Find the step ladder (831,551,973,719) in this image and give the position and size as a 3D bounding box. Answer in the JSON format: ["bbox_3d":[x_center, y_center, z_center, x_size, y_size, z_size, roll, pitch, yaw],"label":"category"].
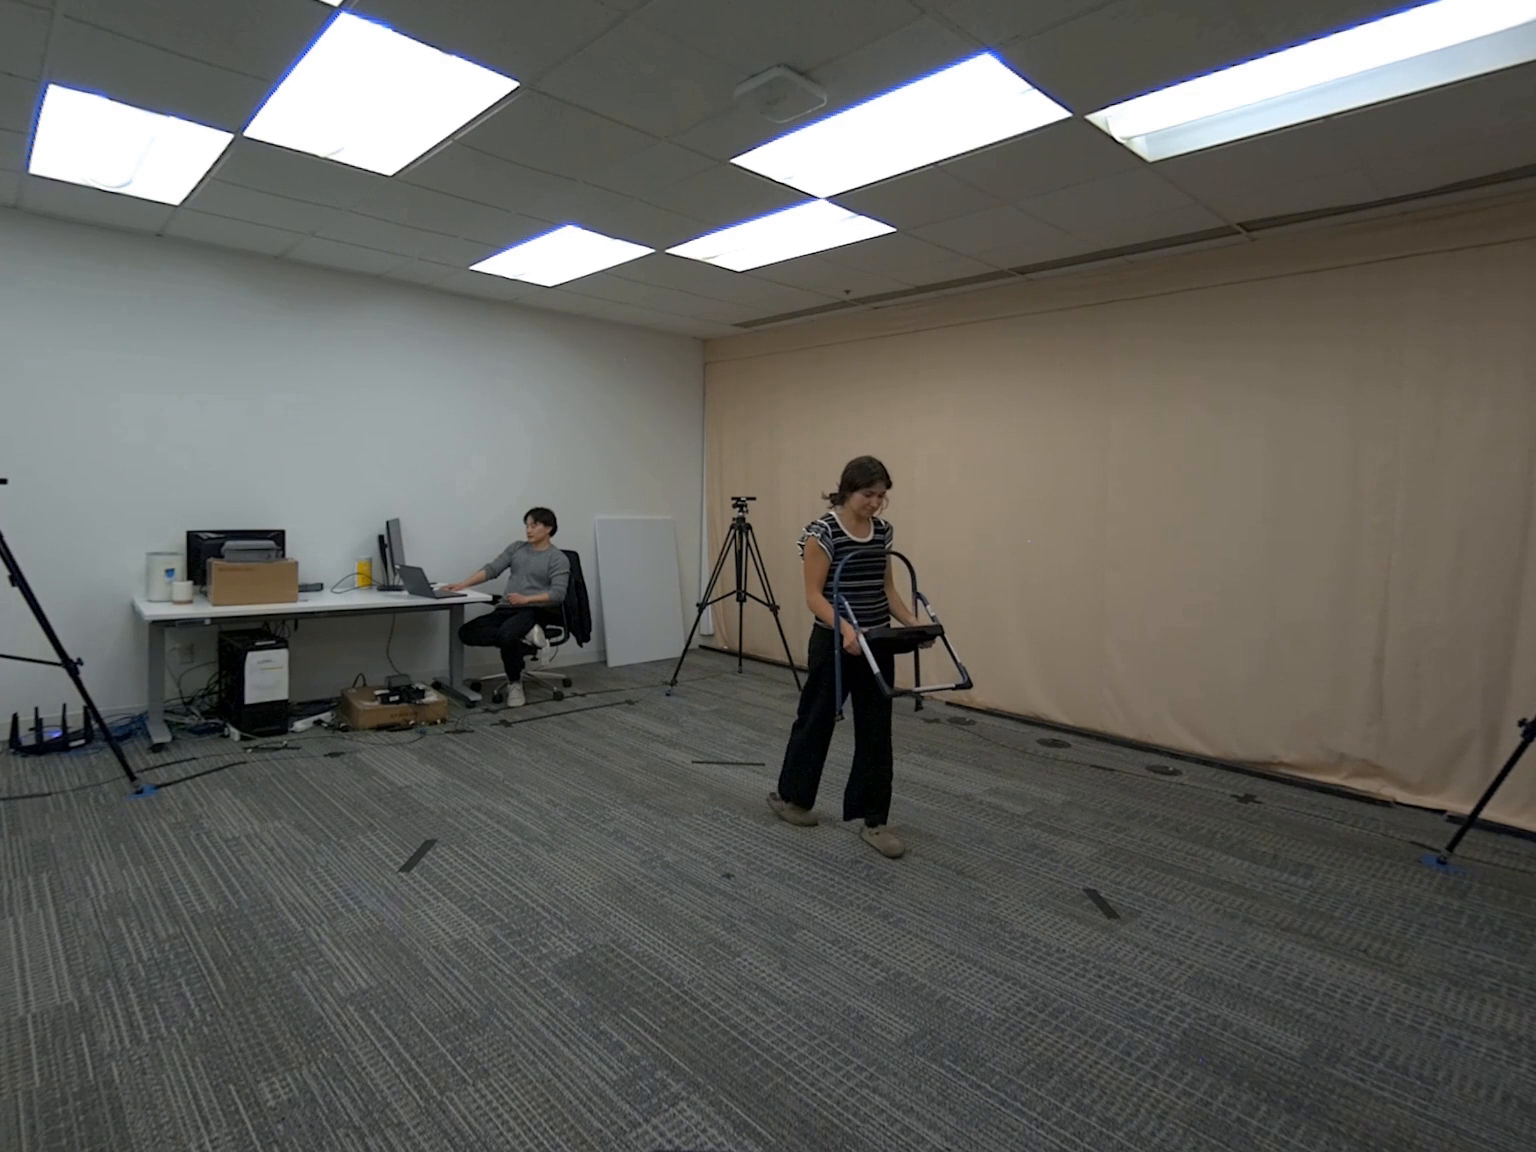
[{"bbox_3d":[0.441,0.207,3.288,0.421,0.617,0.350,-1,-24,-33],"label":"step ladder"}]
